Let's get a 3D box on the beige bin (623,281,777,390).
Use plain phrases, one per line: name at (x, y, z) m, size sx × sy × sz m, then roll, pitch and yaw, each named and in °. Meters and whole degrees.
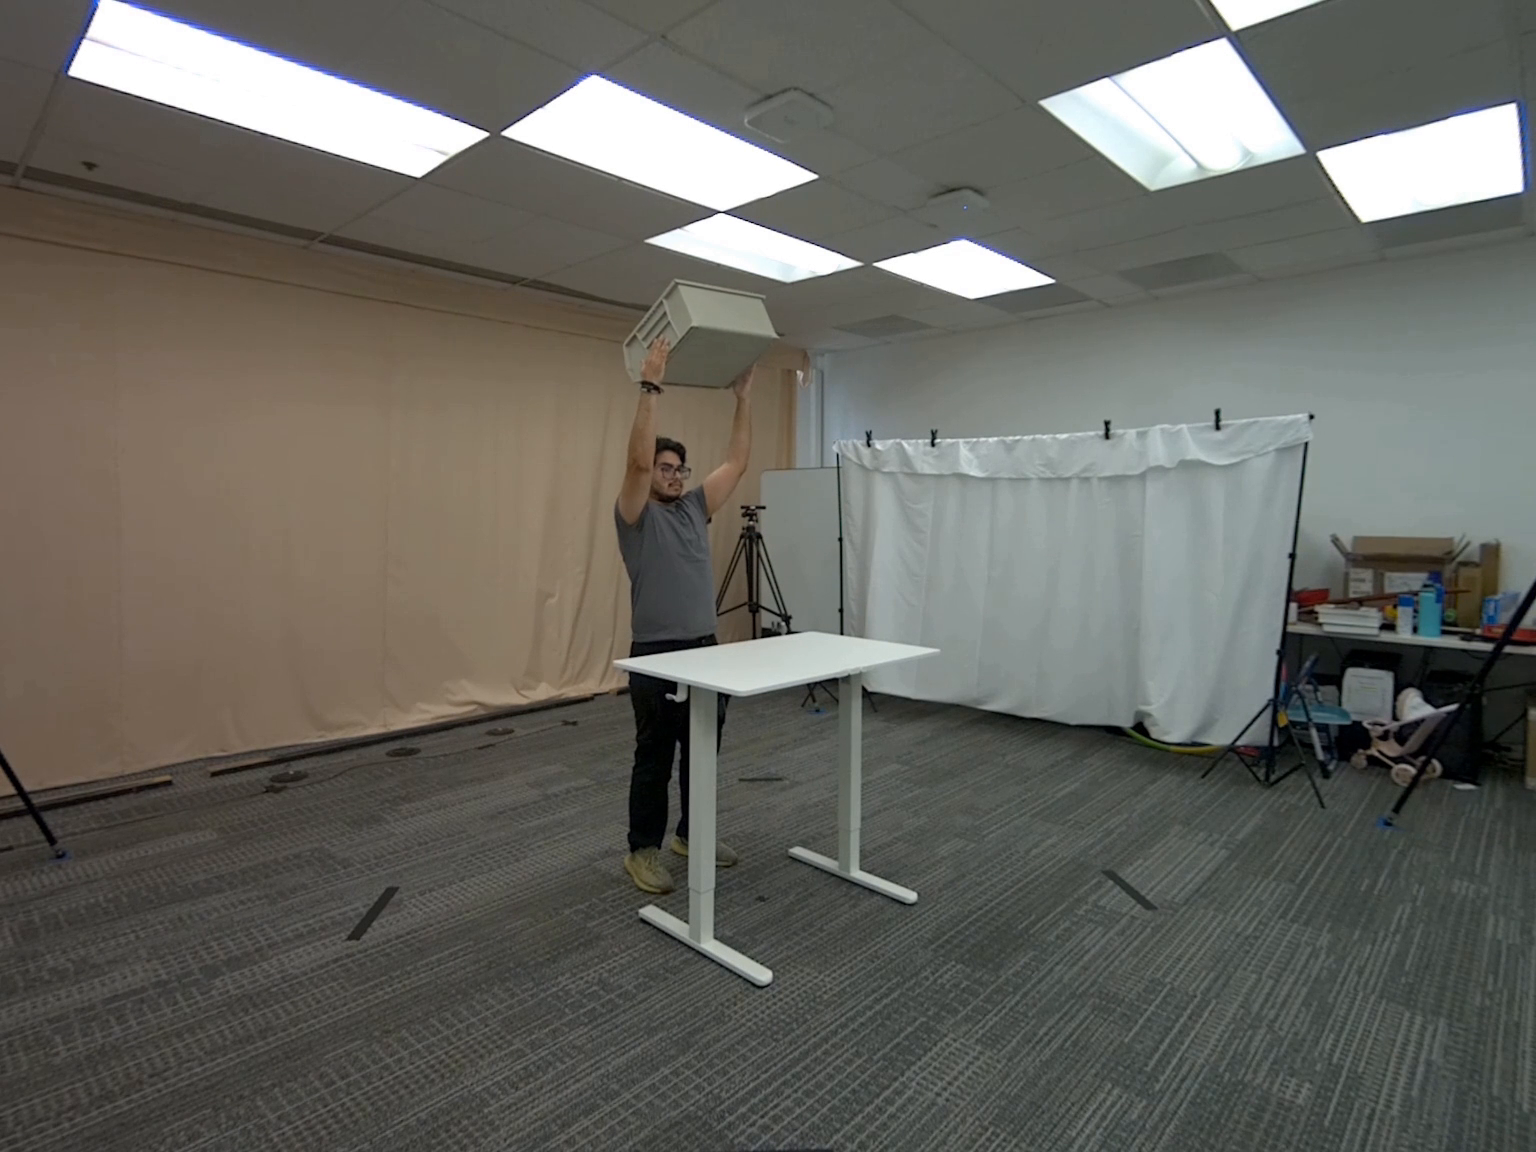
beige bin at (-0.239, -0.820, 2.984) m, size 0.410 × 0.192 × 0.383 m, roll -6°, pitch -21°, yaw -44°
